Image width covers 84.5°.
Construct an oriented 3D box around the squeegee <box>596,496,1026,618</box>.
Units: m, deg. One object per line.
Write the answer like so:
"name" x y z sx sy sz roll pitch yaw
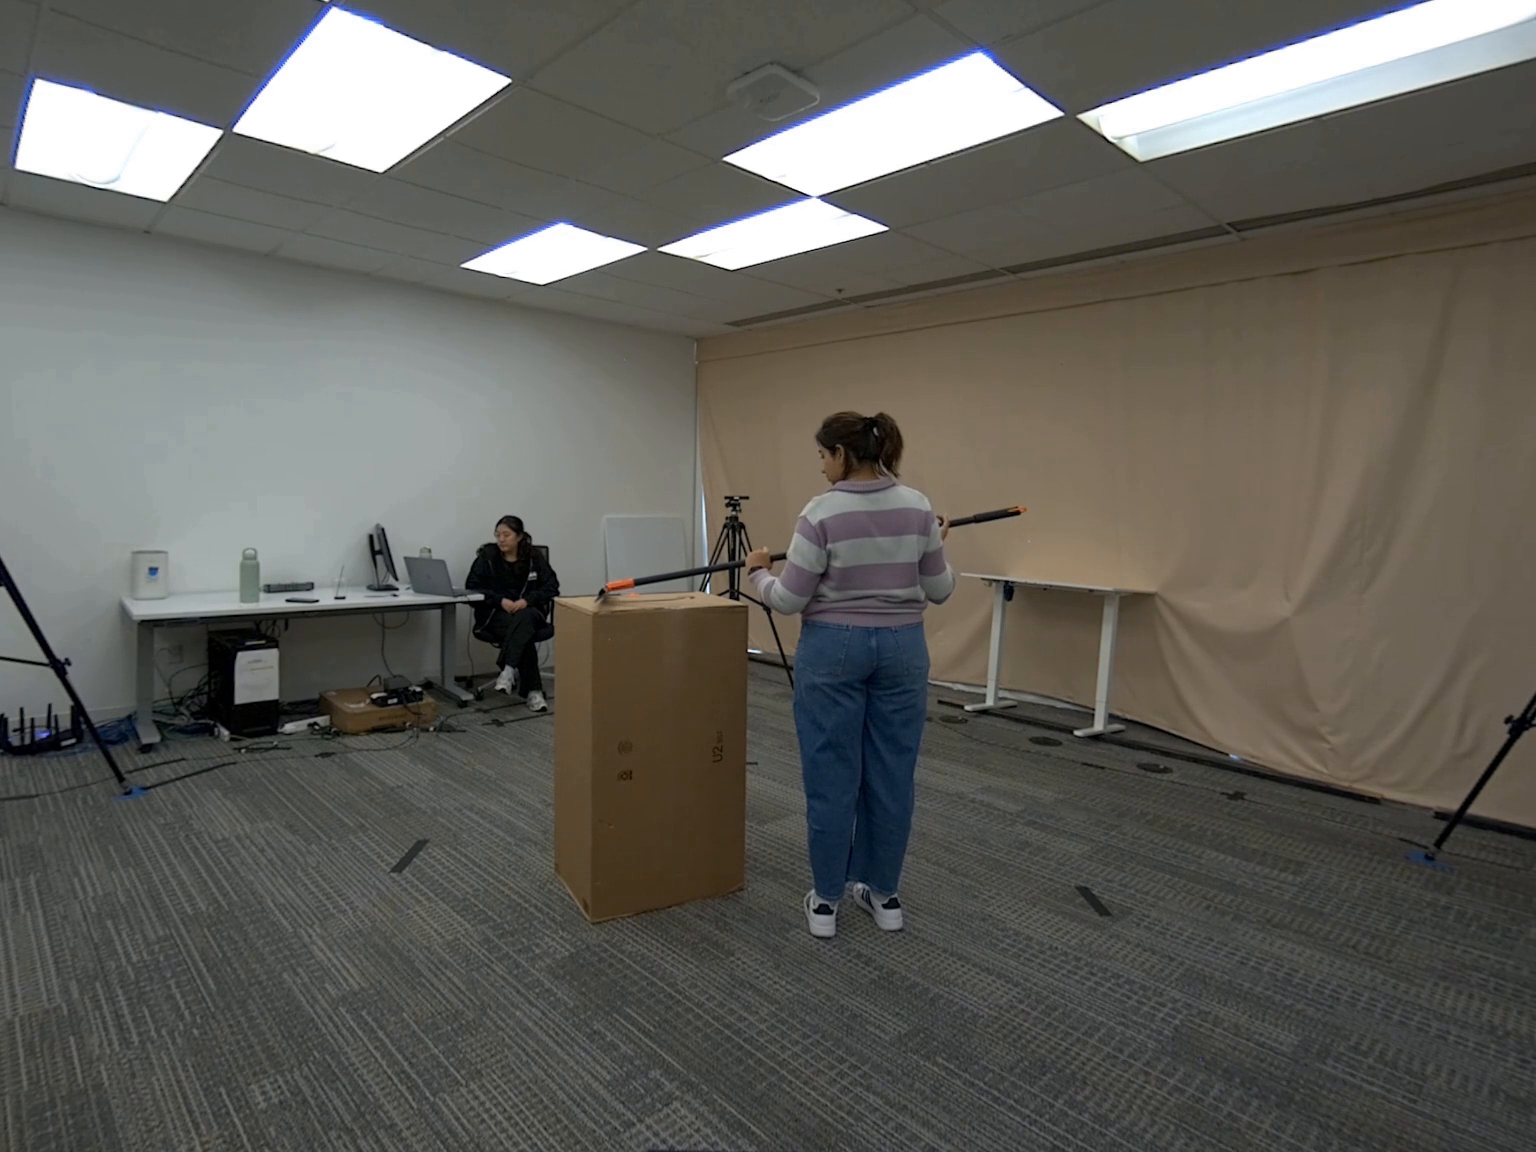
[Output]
"squeegee" 0.168 -0.093 2.957 1.535 0.053 0.440 -12 5 -2
